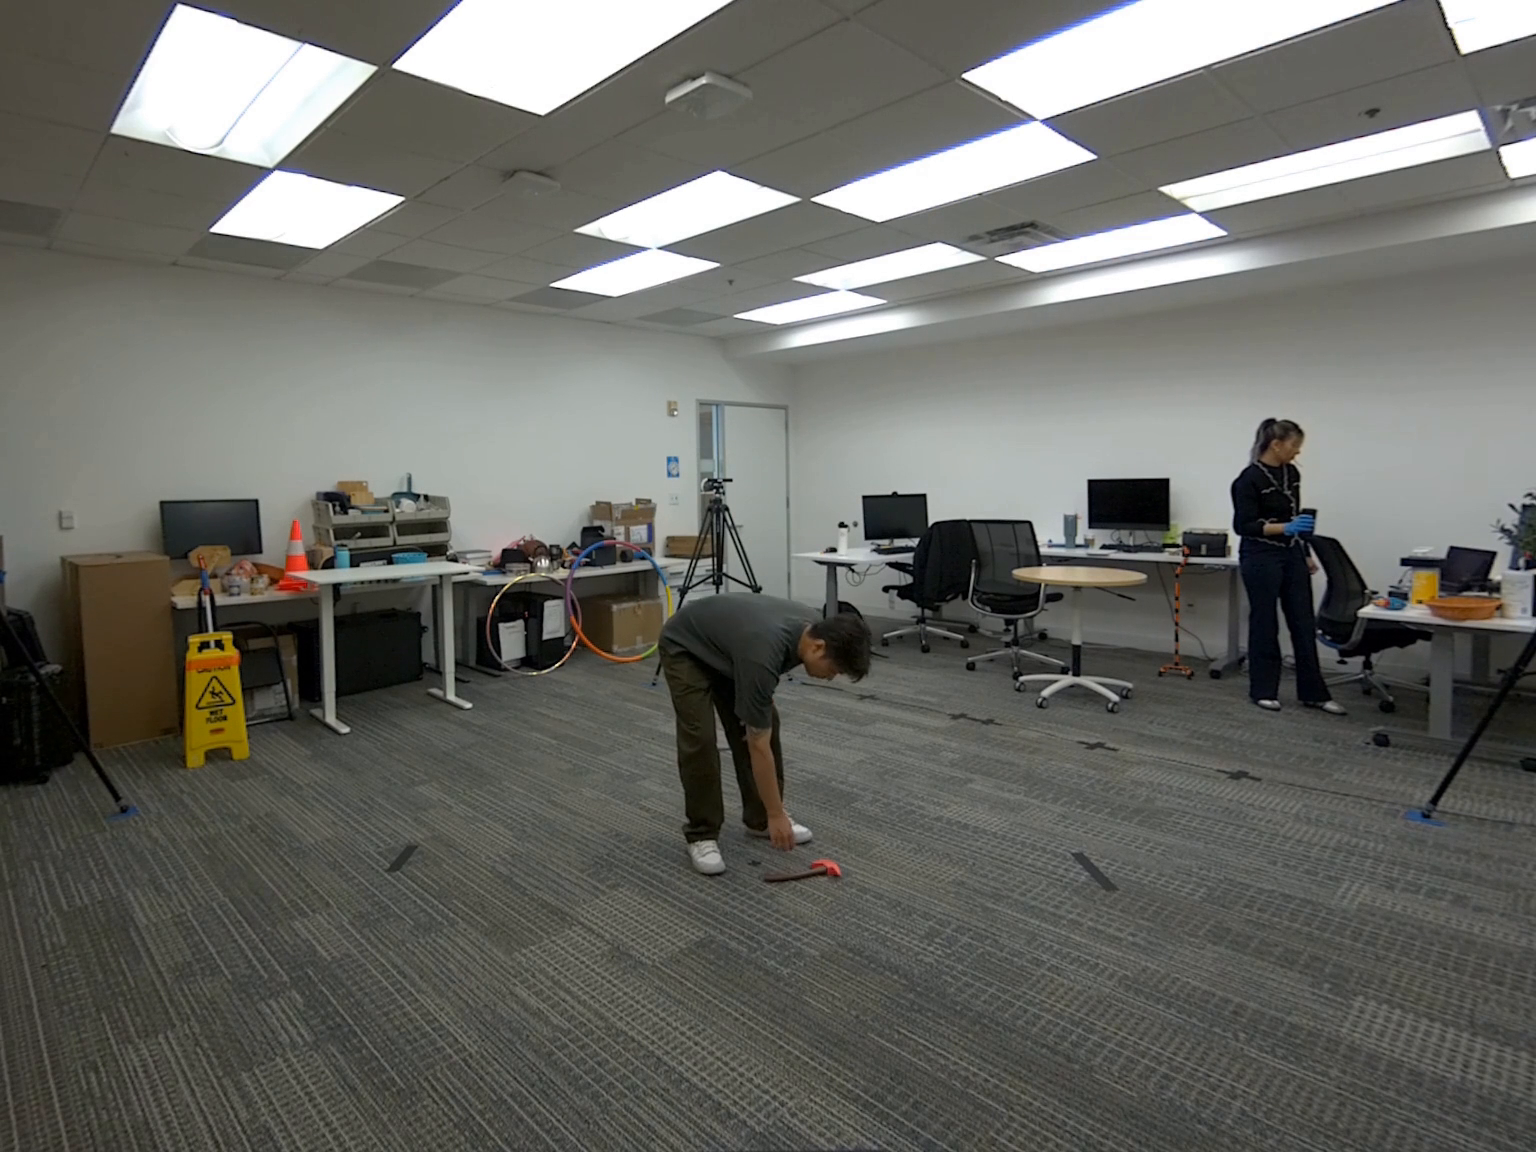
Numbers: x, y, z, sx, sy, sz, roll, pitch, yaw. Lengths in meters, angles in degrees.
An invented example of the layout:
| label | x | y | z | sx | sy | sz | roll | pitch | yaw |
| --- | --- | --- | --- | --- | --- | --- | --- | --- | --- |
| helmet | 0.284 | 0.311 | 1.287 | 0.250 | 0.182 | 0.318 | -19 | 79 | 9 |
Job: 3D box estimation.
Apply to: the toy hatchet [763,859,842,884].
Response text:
| label | x | y | z | sx | sy | sz | roll | pitch | yaw |
| --- | --- | --- | --- | --- | --- | --- | --- | --- | --- |
| toy hatchet | 0.121 | 1.040 | 3.023 | 0.269 | 0.029 | 0.132 | -3 | 8 | -5 |
